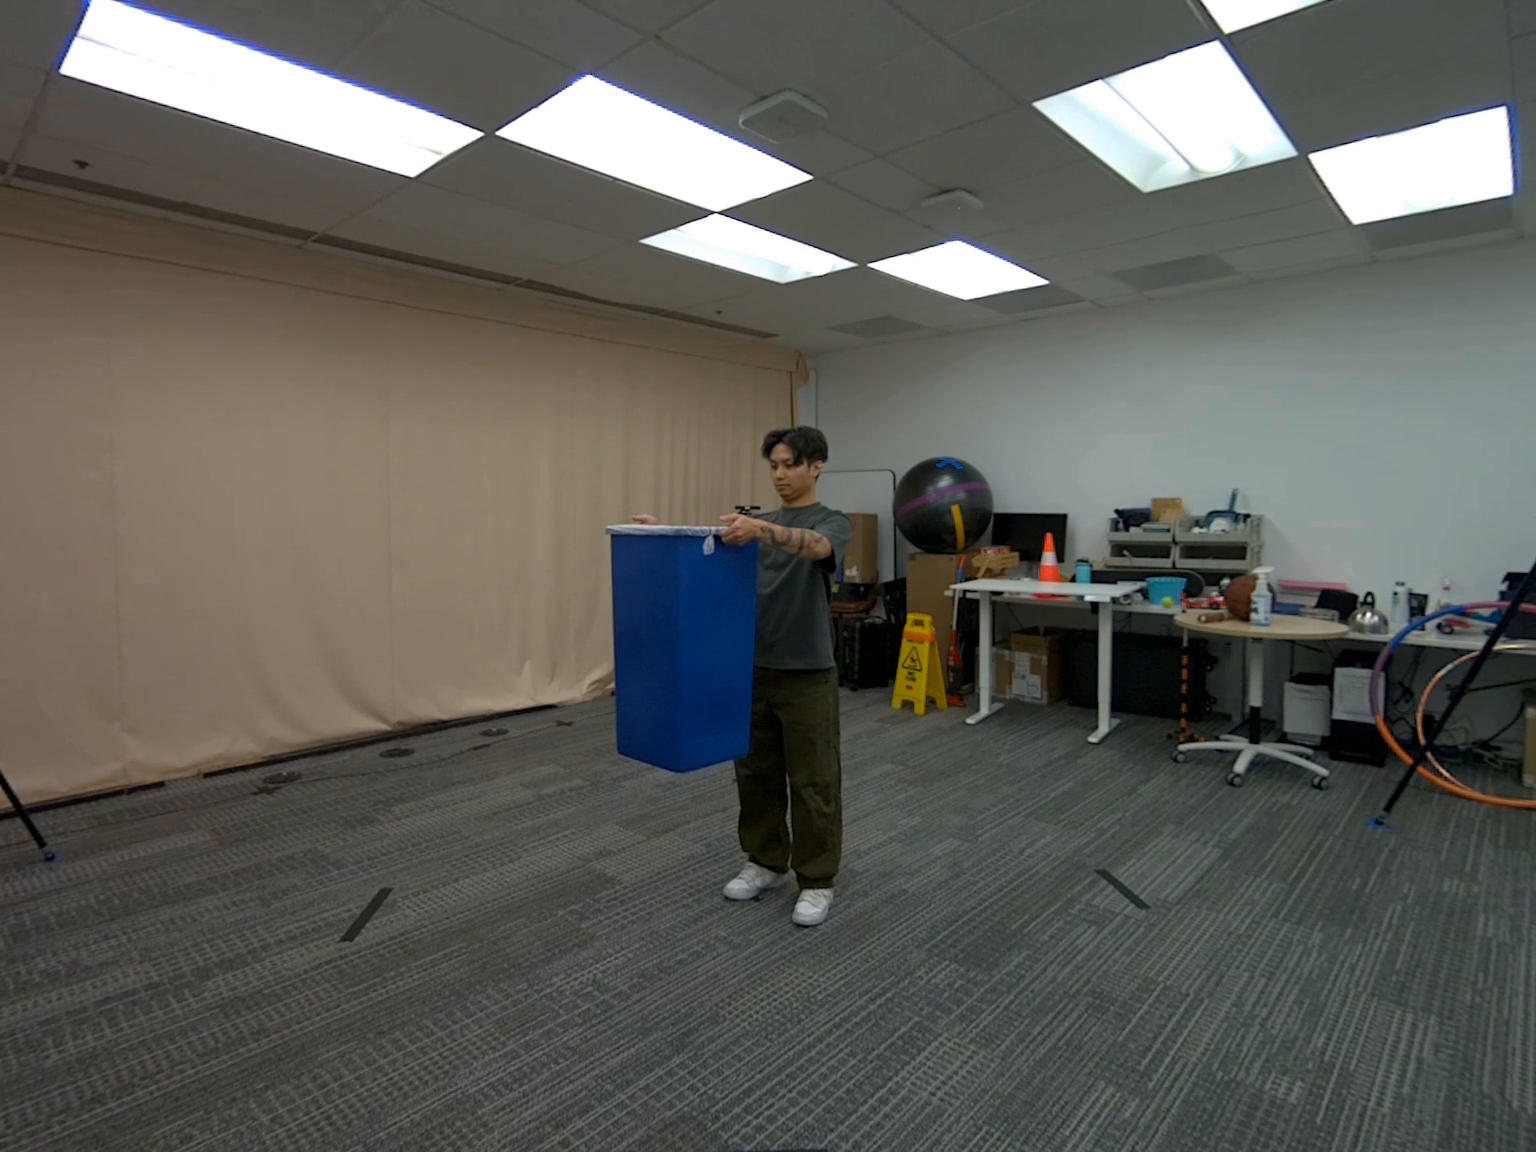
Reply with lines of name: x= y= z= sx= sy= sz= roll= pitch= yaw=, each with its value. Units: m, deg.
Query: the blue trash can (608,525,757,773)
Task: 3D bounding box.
blue trash can: x=-0.265 y=0.208 z=2.617 sx=0.390 sy=0.713 sz=0.362 roll=2 pitch=1 yaw=43
